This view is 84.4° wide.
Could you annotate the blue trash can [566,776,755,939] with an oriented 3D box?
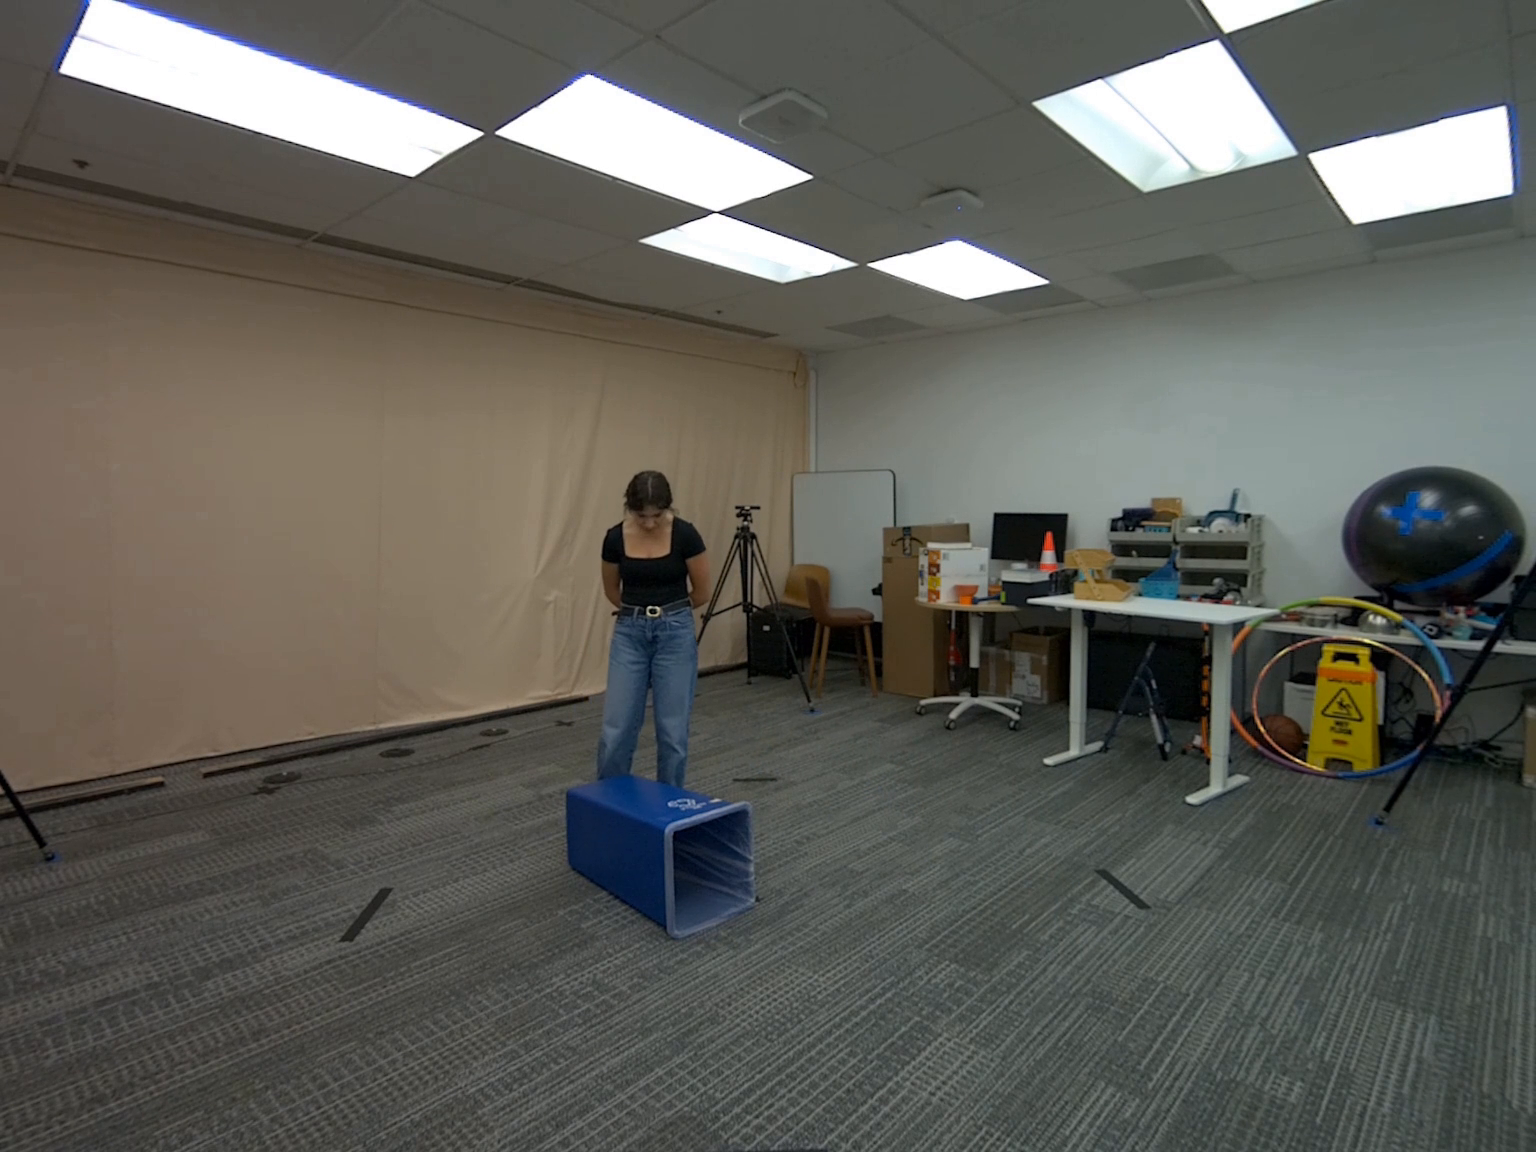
[{"bbox_3d":[-0.422,0.974,3.070,0.362,0.378,0.736,-3,2,-42],"label":"blue trash can"}]
